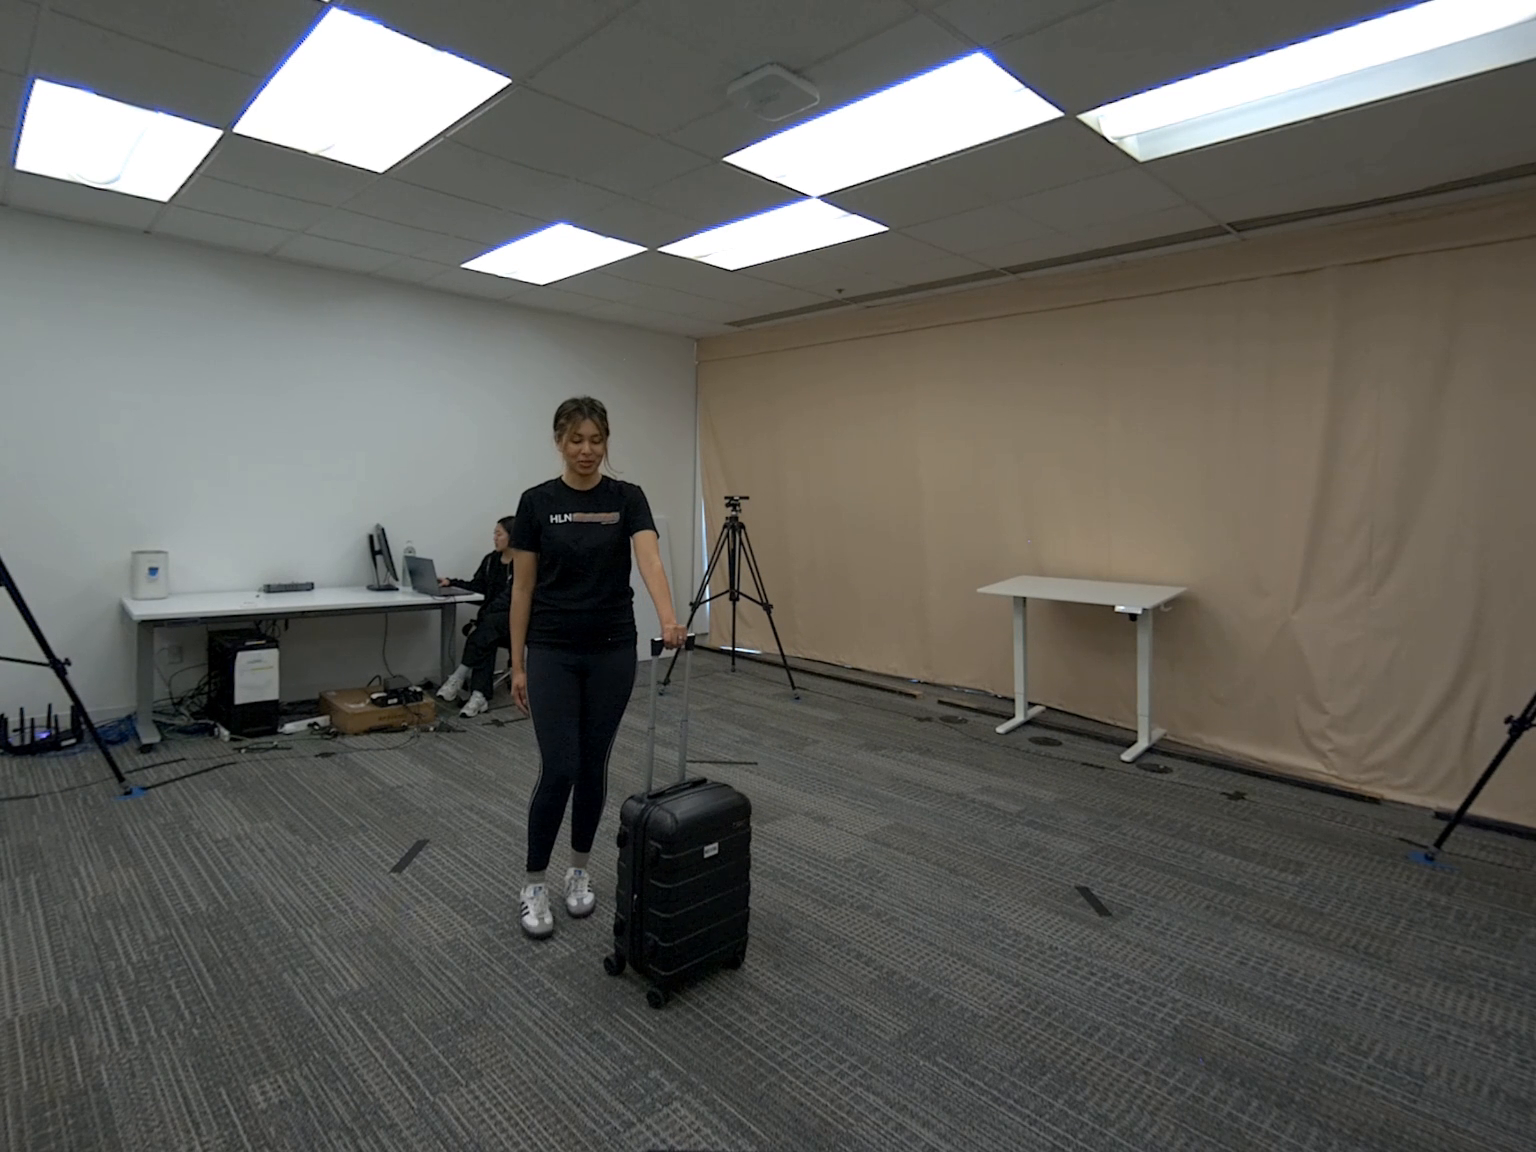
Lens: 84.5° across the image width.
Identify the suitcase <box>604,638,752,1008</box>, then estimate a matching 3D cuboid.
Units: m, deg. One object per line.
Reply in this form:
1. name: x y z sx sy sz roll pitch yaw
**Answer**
1. suitcase: -0.231 0.689 2.425 0.375 0.975 0.264 -1 7 -44
